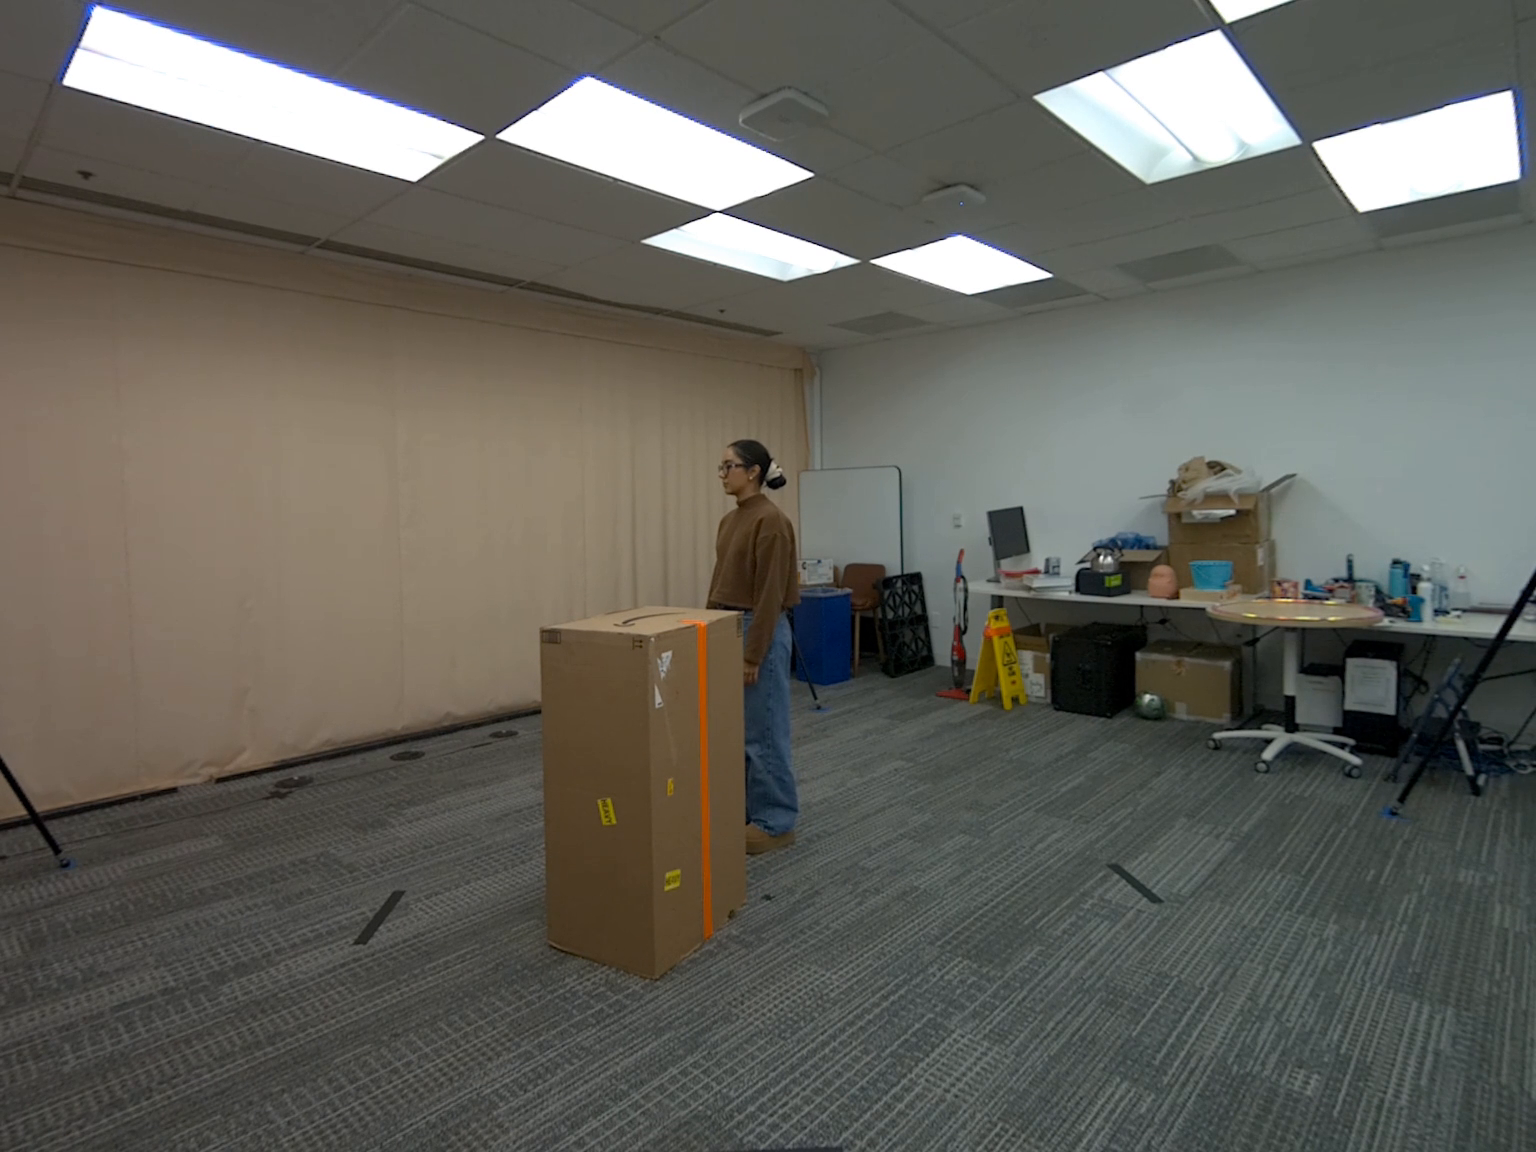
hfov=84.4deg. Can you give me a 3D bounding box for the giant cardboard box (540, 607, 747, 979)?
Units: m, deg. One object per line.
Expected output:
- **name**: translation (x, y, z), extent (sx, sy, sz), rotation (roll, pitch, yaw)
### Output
- **giant cardboard box**: translation (-0.399, 0.654, 2.798), extent (0.438, 1.024, 0.562), rotation (1, 4, 29)
